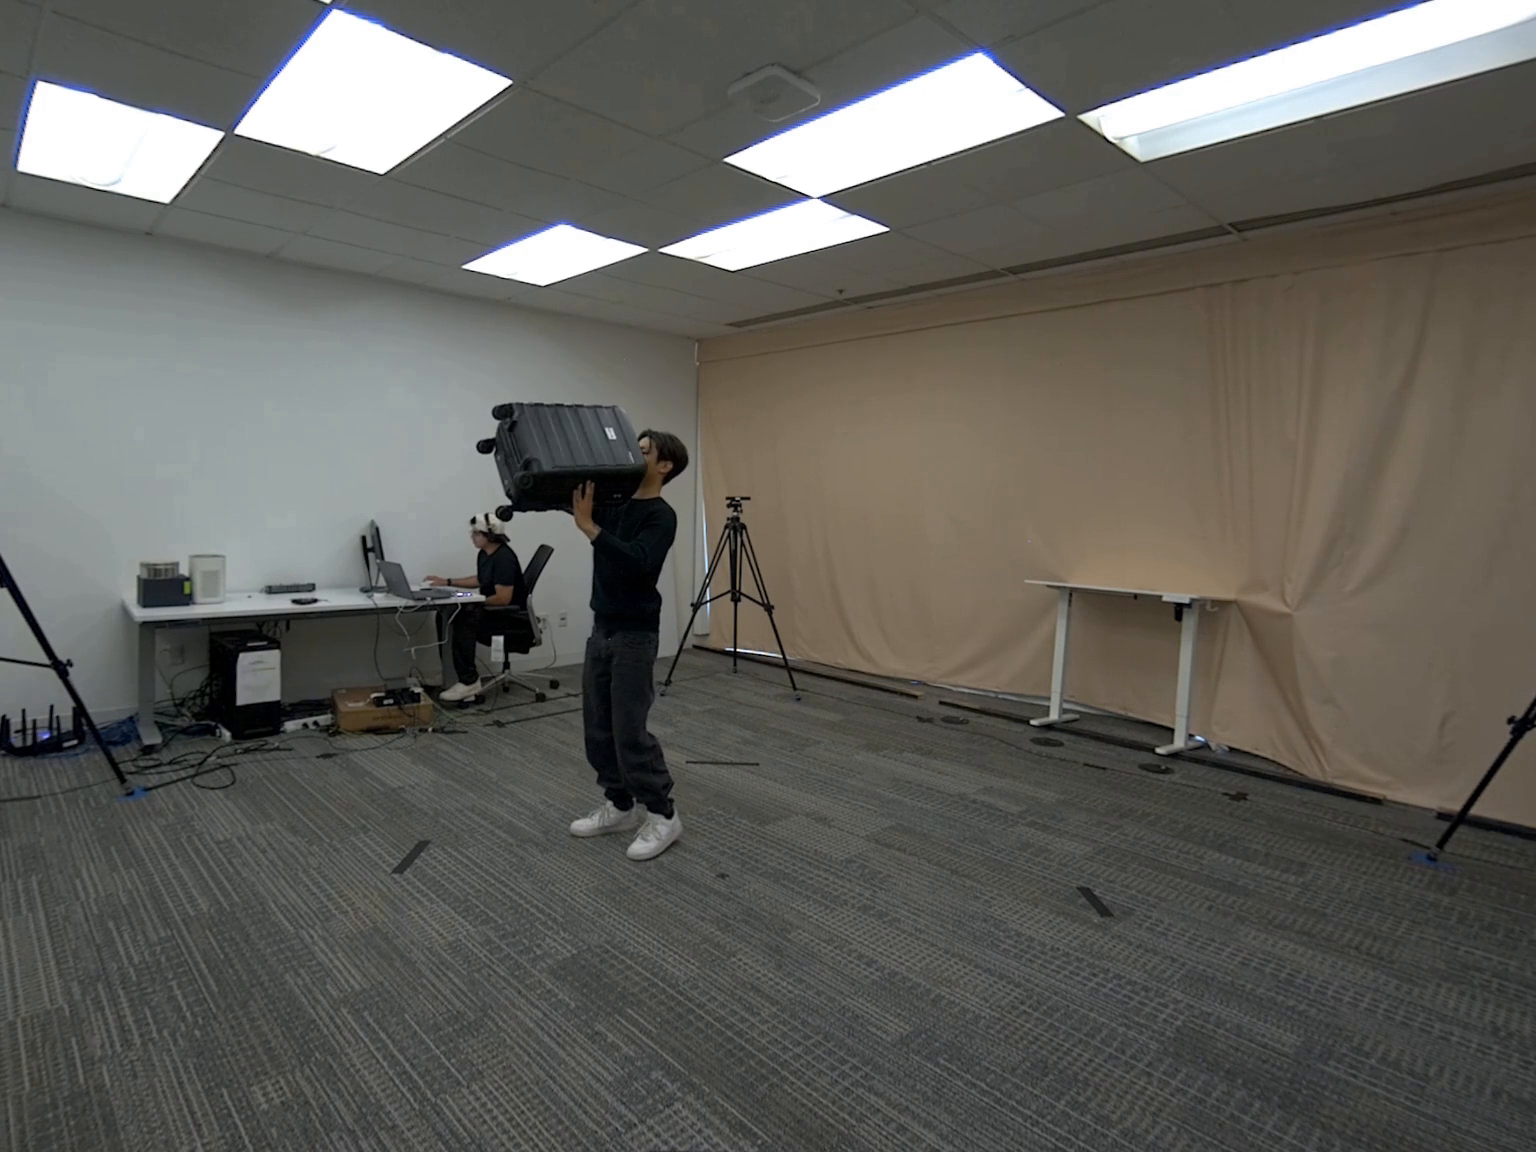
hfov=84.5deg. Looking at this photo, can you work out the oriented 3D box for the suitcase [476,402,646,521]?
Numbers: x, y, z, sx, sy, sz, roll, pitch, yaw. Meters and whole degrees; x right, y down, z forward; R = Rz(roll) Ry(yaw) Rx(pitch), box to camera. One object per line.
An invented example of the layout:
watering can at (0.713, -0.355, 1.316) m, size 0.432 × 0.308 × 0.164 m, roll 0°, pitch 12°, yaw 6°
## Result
suitcase at (-0.745, -0.444, 3.127) m, size 0.538 × 0.383 × 0.248 m, roll -8°, pitch -27°, yaw -38°
